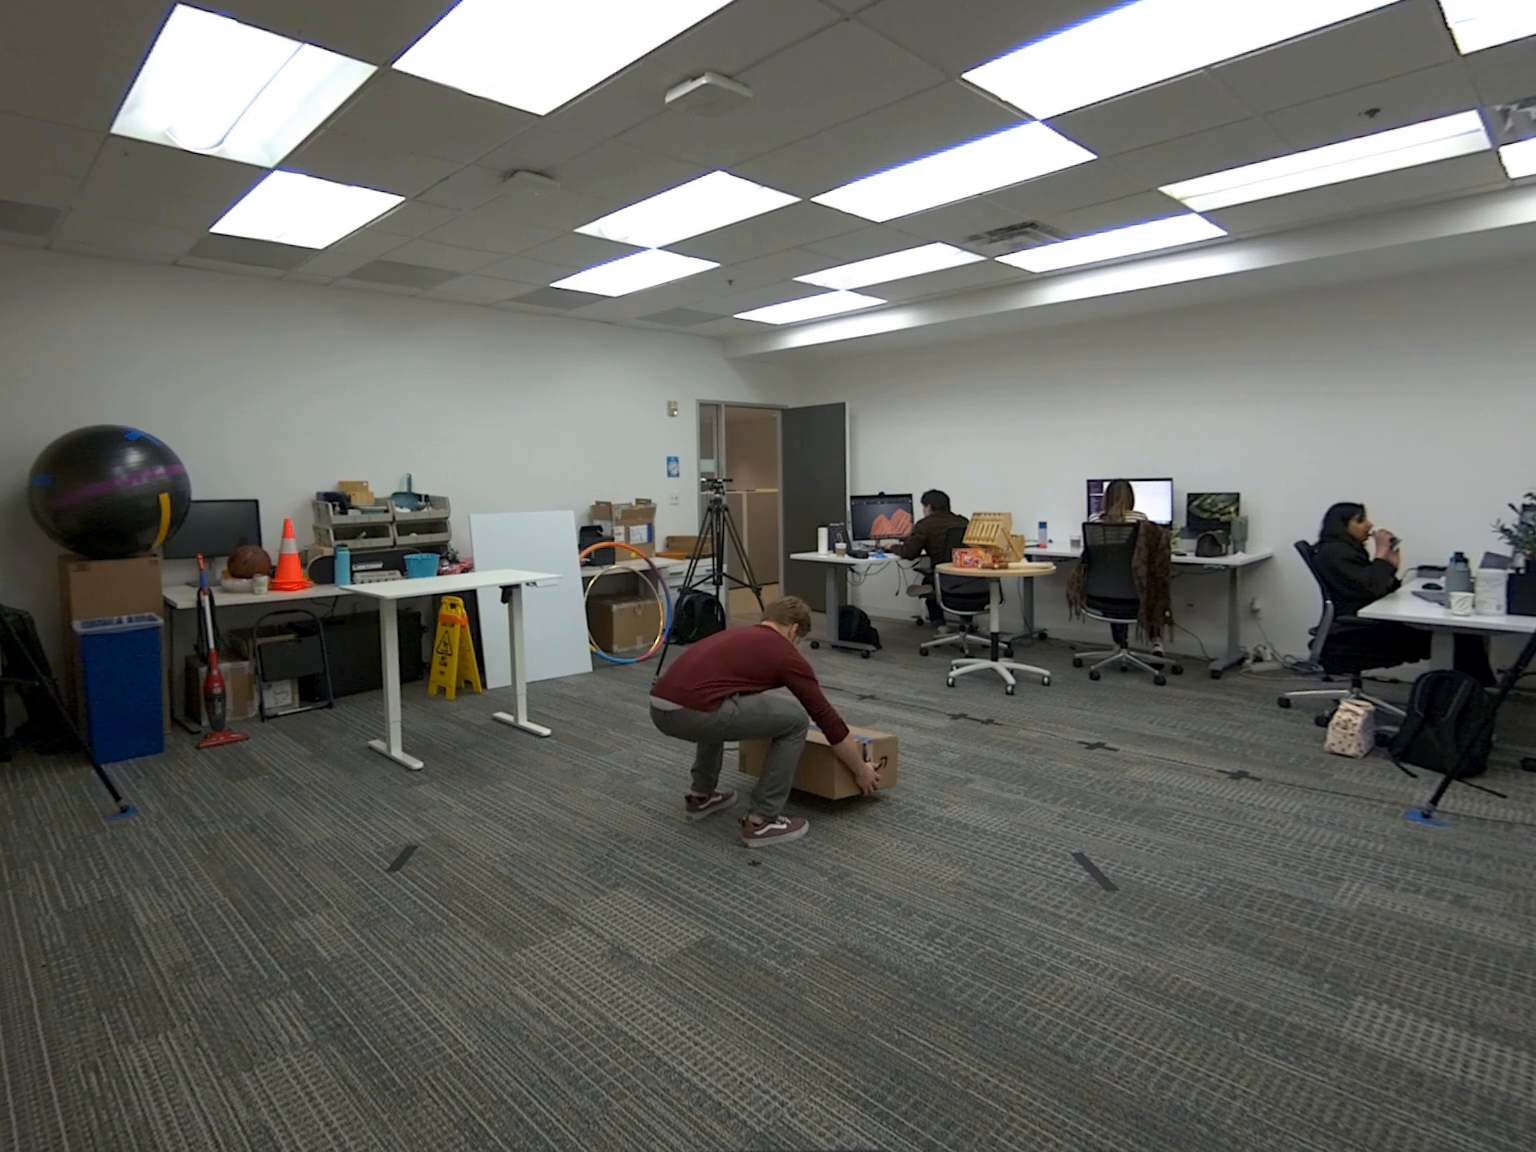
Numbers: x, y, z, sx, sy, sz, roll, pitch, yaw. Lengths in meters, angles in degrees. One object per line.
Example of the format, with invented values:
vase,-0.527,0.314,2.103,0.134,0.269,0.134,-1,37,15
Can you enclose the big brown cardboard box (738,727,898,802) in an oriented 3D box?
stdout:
big brown cardboard box,0.215,0.783,3.786,0.405,0.233,0.607,3,1,-44
